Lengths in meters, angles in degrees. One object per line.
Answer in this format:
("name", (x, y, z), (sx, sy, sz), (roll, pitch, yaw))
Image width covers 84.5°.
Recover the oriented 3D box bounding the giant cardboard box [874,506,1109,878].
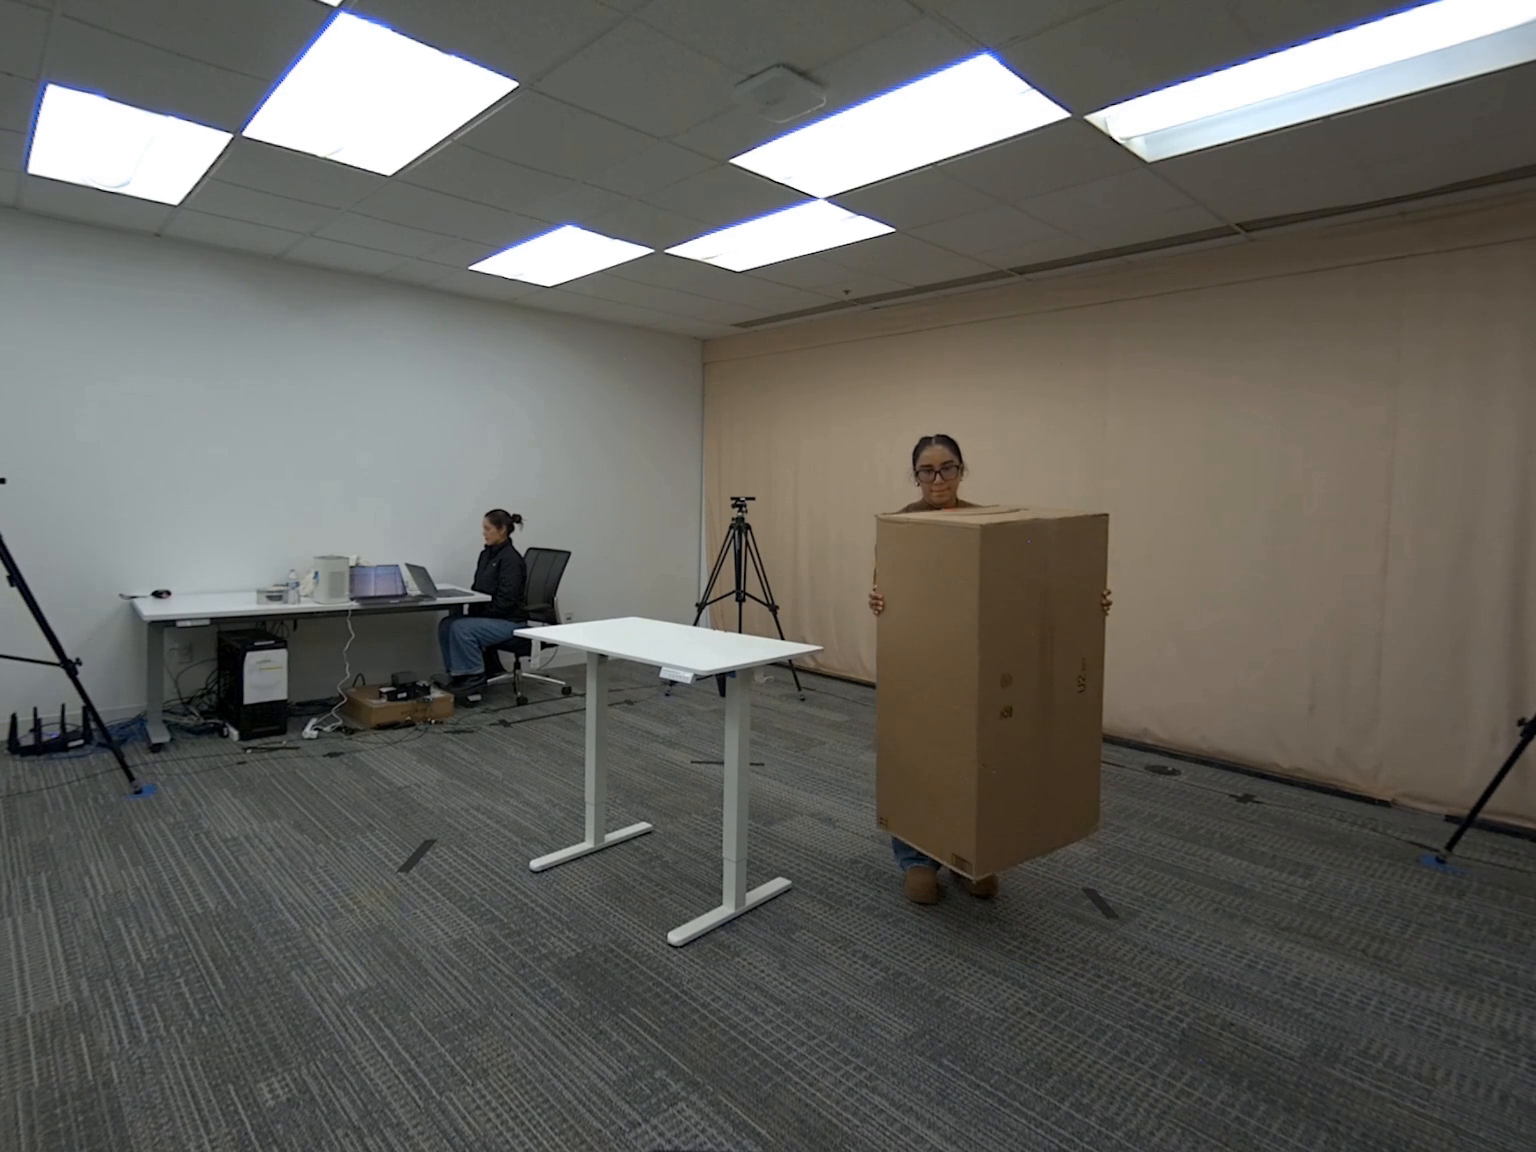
("giant cardboard box", (0.694, 0.322, 2.649), (0.566, 1.021, 0.437), (-6, 8, -33))
